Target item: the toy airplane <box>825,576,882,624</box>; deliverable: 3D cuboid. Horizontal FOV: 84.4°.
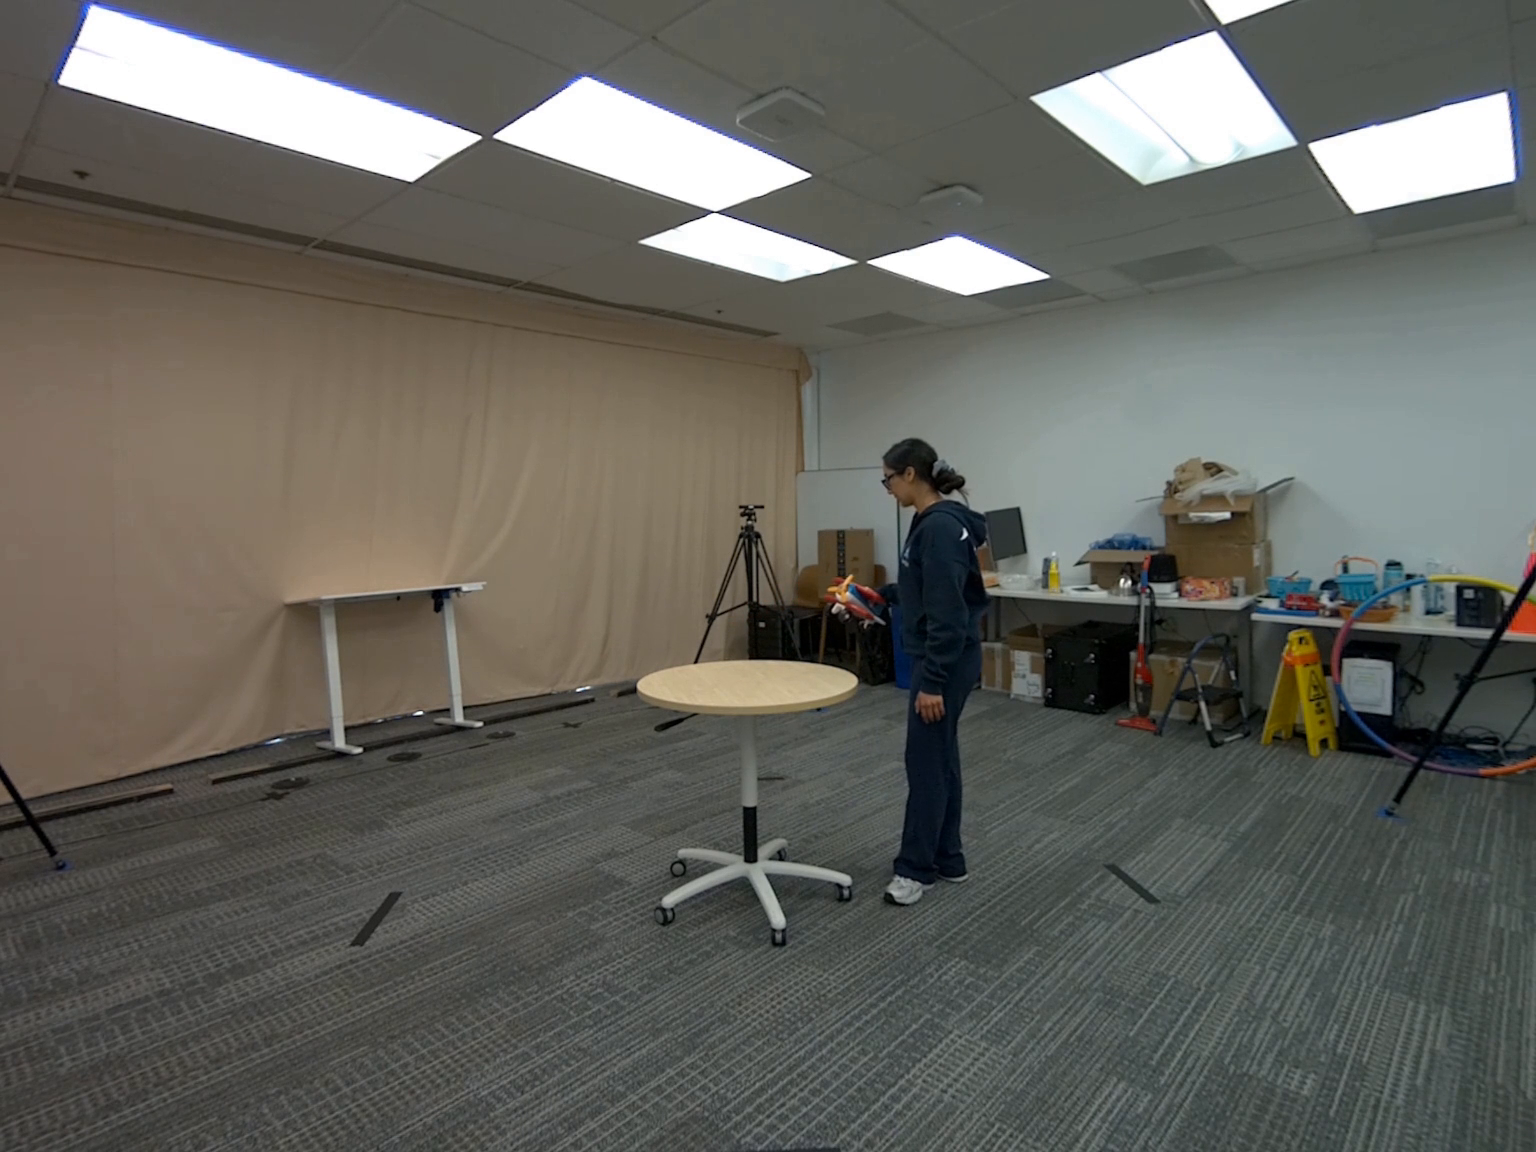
[{"bbox_3d":[0.347,0.117,3.315,0.259,0.156,0.251,23,0,26],"label":"toy airplane"}]
